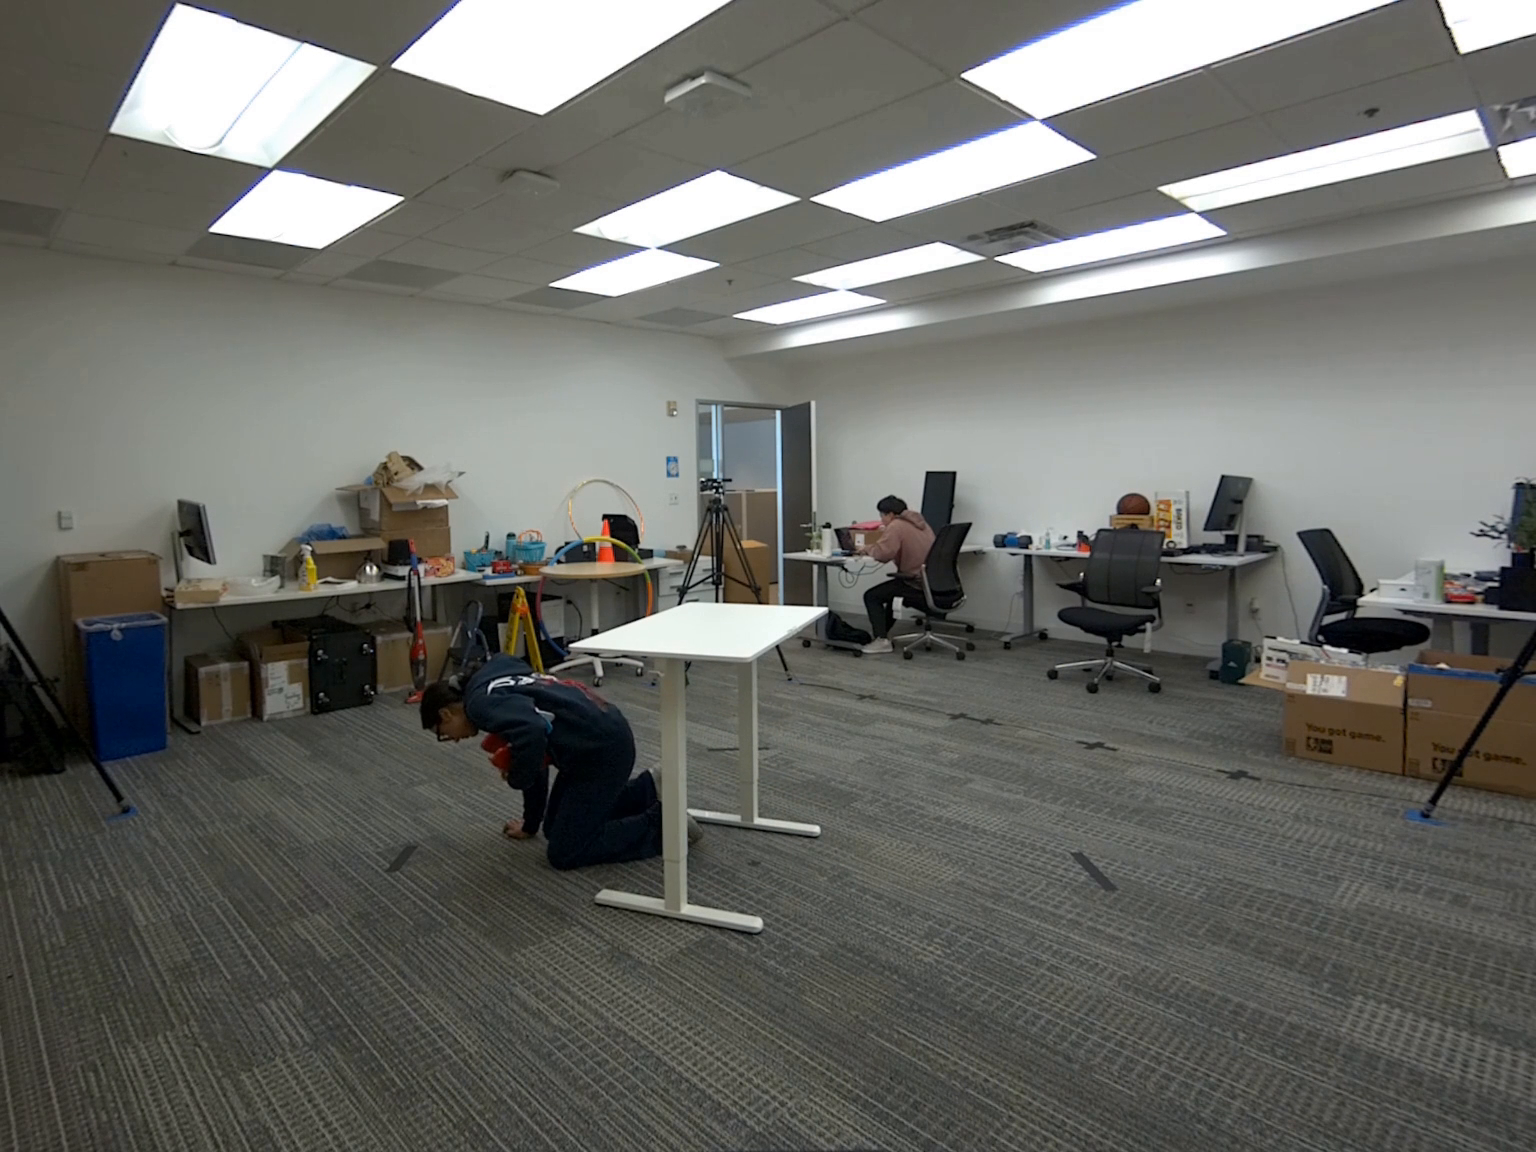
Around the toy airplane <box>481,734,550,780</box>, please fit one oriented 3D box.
[{"bbox_3d":[-0.862,0.564,2.946,0.244,0.257,0.162,-4,47,-40],"label":"toy airplane"}]
